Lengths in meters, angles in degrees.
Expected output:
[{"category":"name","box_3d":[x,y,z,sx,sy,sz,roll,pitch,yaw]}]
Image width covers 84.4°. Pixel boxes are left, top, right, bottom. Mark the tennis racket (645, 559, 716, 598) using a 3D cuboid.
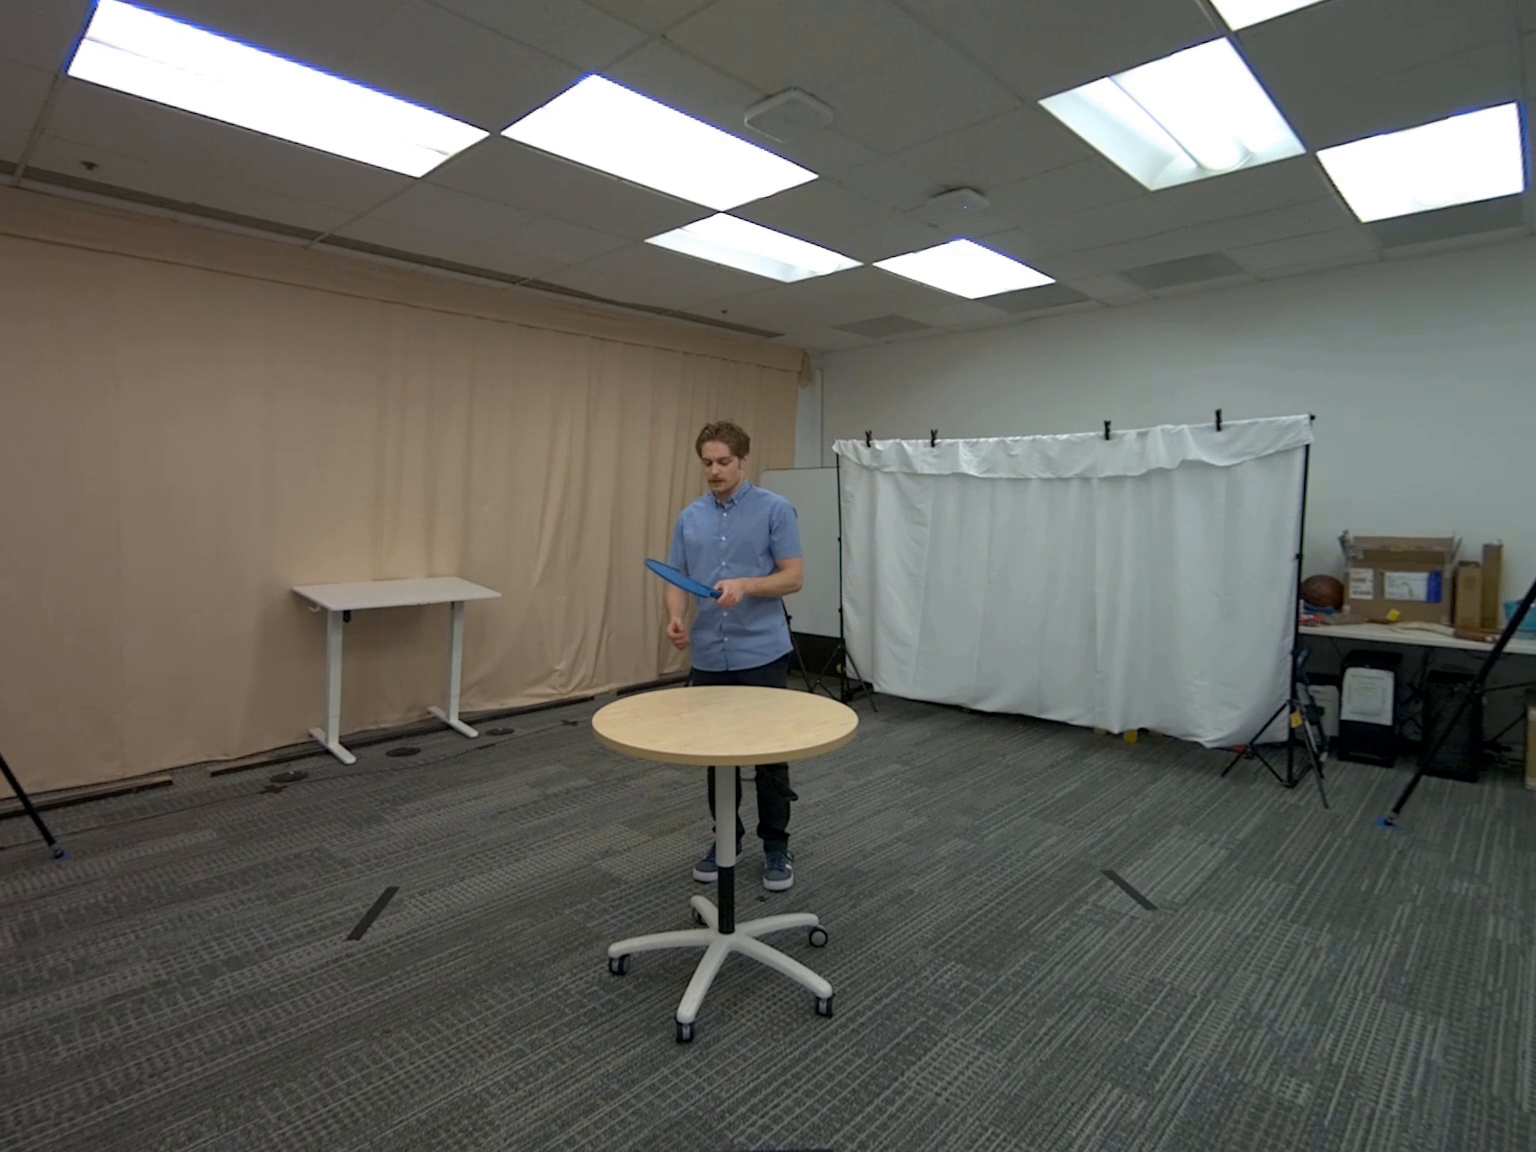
[{"category":"tennis racket","box_3d":[-0.277,0.026,2.794,0.221,0.032,0.418,38,7,35]}]
